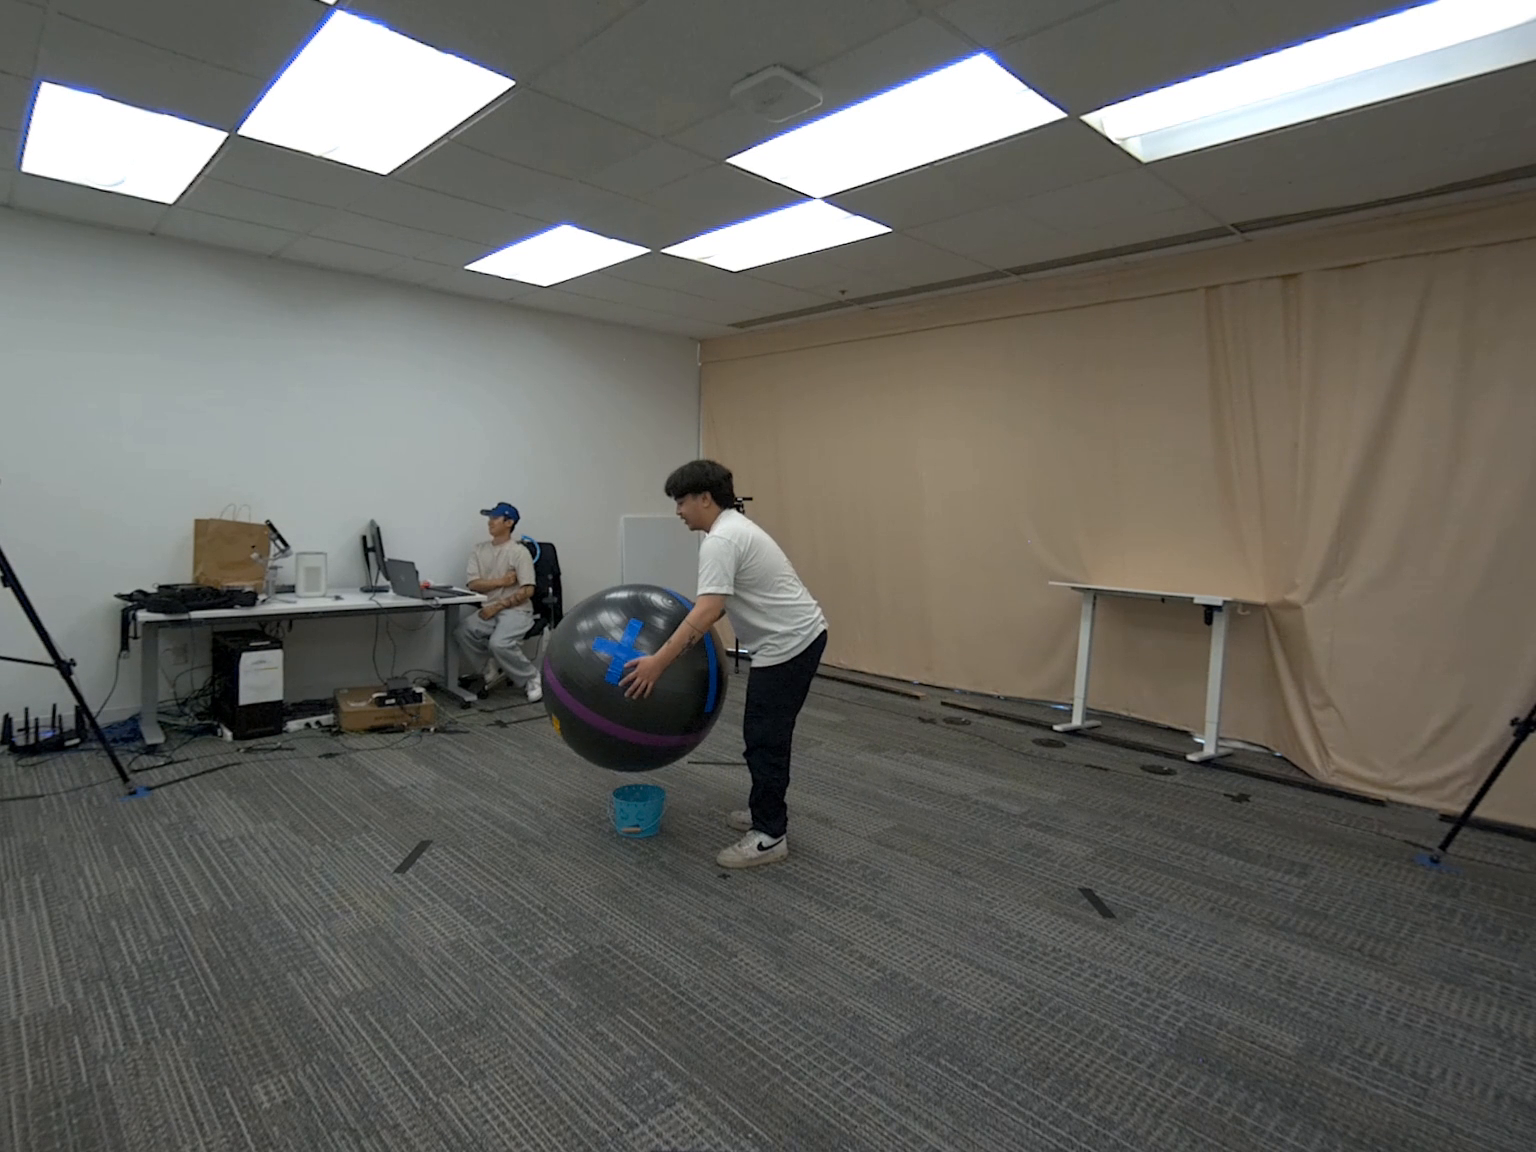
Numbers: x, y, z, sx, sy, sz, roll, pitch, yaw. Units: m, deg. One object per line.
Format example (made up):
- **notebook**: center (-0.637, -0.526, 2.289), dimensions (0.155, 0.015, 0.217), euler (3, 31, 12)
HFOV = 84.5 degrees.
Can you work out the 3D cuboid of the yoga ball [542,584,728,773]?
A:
- **yoga ball**: center (-0.546, 0.422, 3.454), dimensions (0.757, 0.756, 0.761), euler (1, 4, -1)
